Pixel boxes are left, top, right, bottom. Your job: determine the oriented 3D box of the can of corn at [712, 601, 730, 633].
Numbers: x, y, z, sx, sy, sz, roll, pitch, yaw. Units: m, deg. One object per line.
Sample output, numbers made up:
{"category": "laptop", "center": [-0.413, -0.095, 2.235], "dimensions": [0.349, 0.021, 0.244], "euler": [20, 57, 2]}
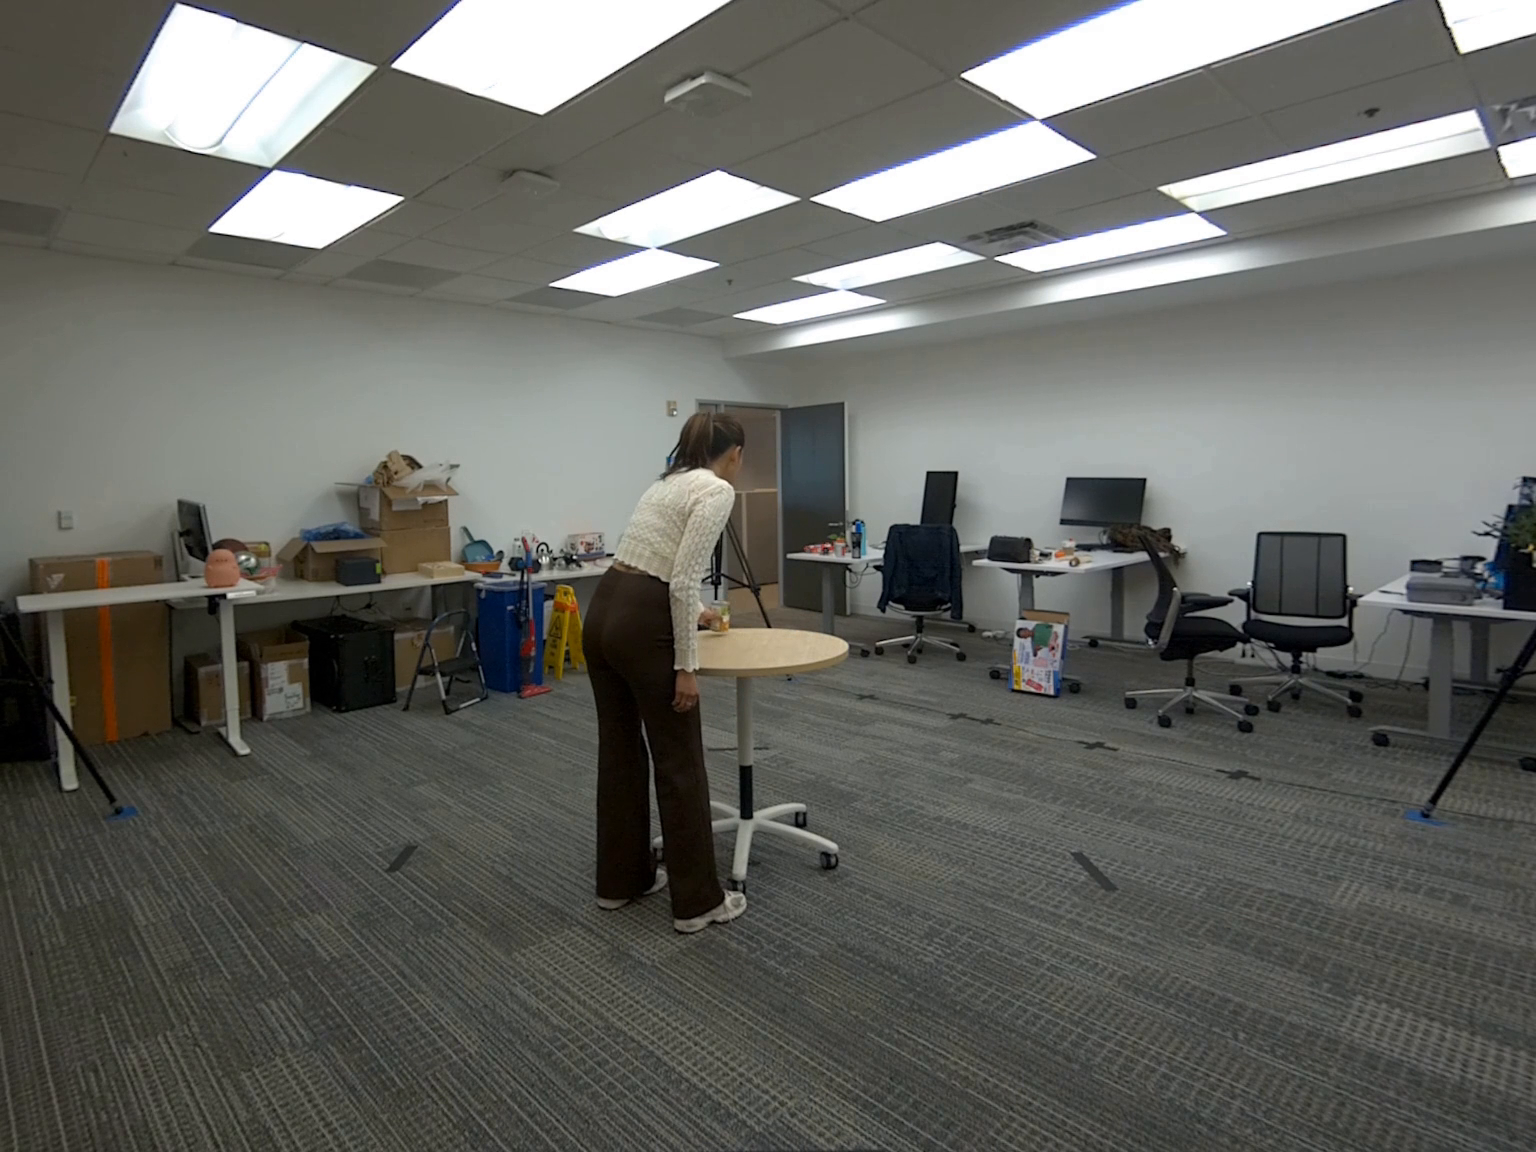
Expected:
{"category": "can of corn", "center": [-0.162, 0.158, 3.359], "dimensions": [0.074, 0.110, 0.074], "euler": [2, 6, -2]}
